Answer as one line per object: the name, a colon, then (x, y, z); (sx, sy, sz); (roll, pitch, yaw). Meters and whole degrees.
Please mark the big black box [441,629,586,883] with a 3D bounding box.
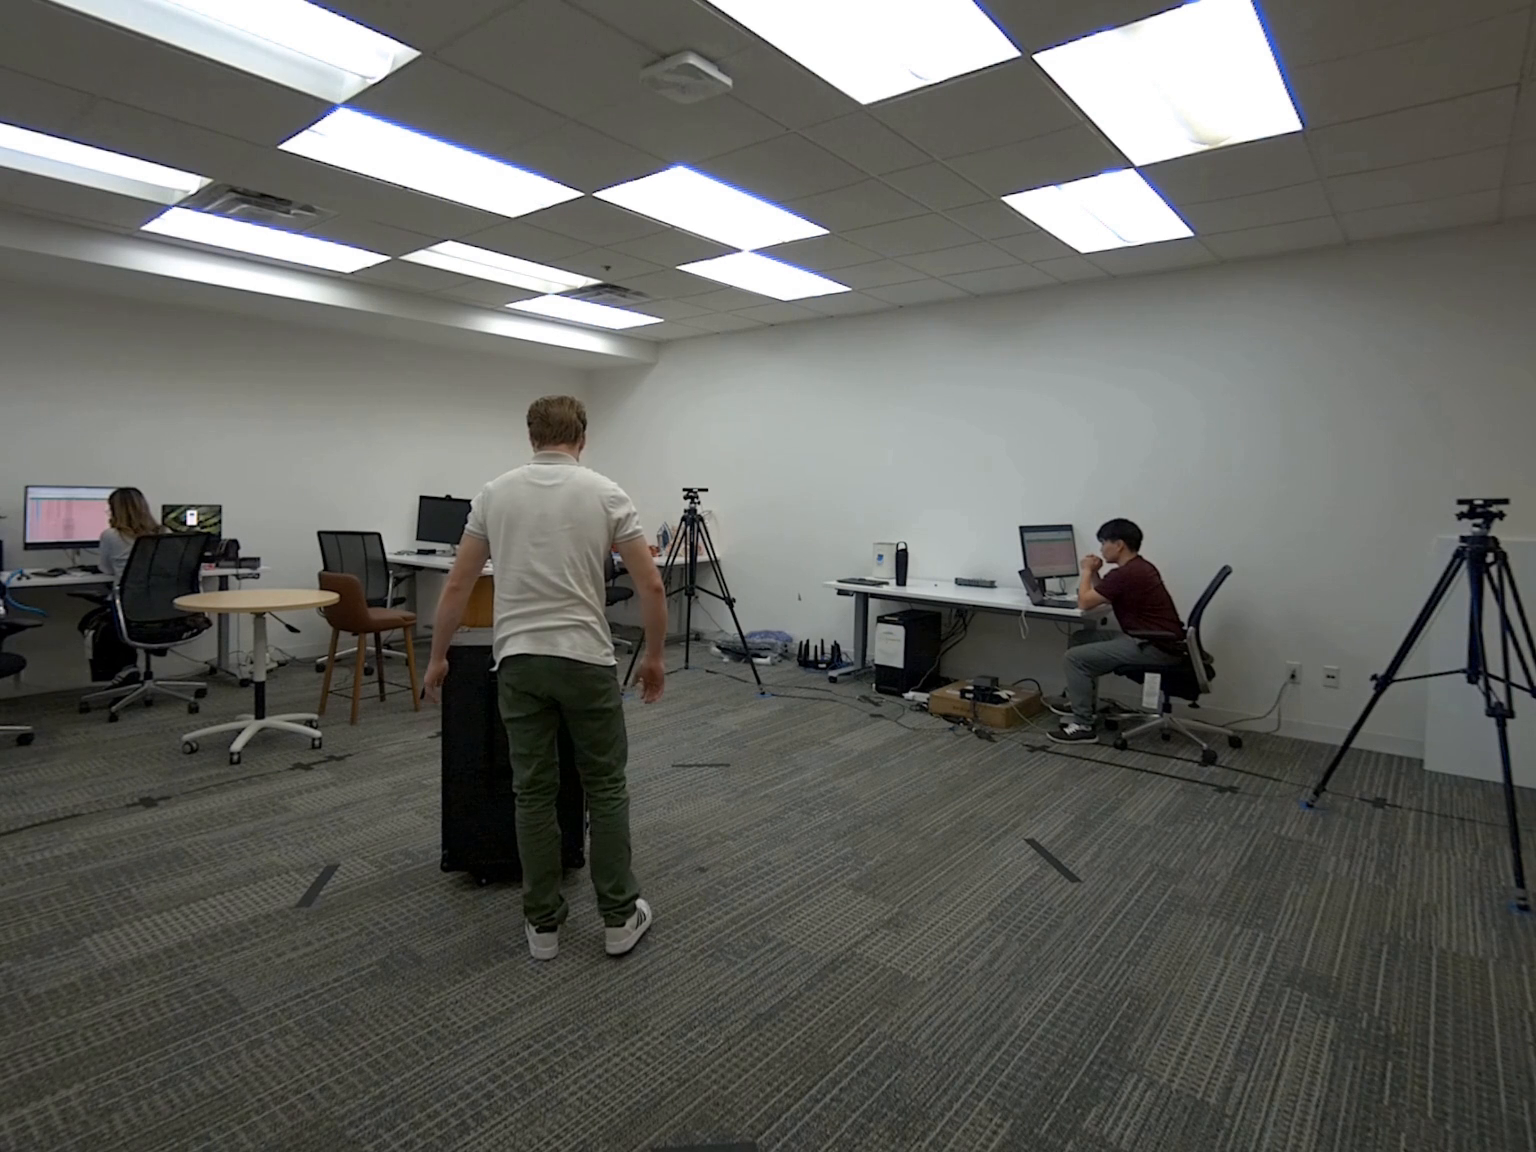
big black box: (-0.905, 0.638, 3.063); (0.517, 0.859, 0.401); (2, 3, -7)
